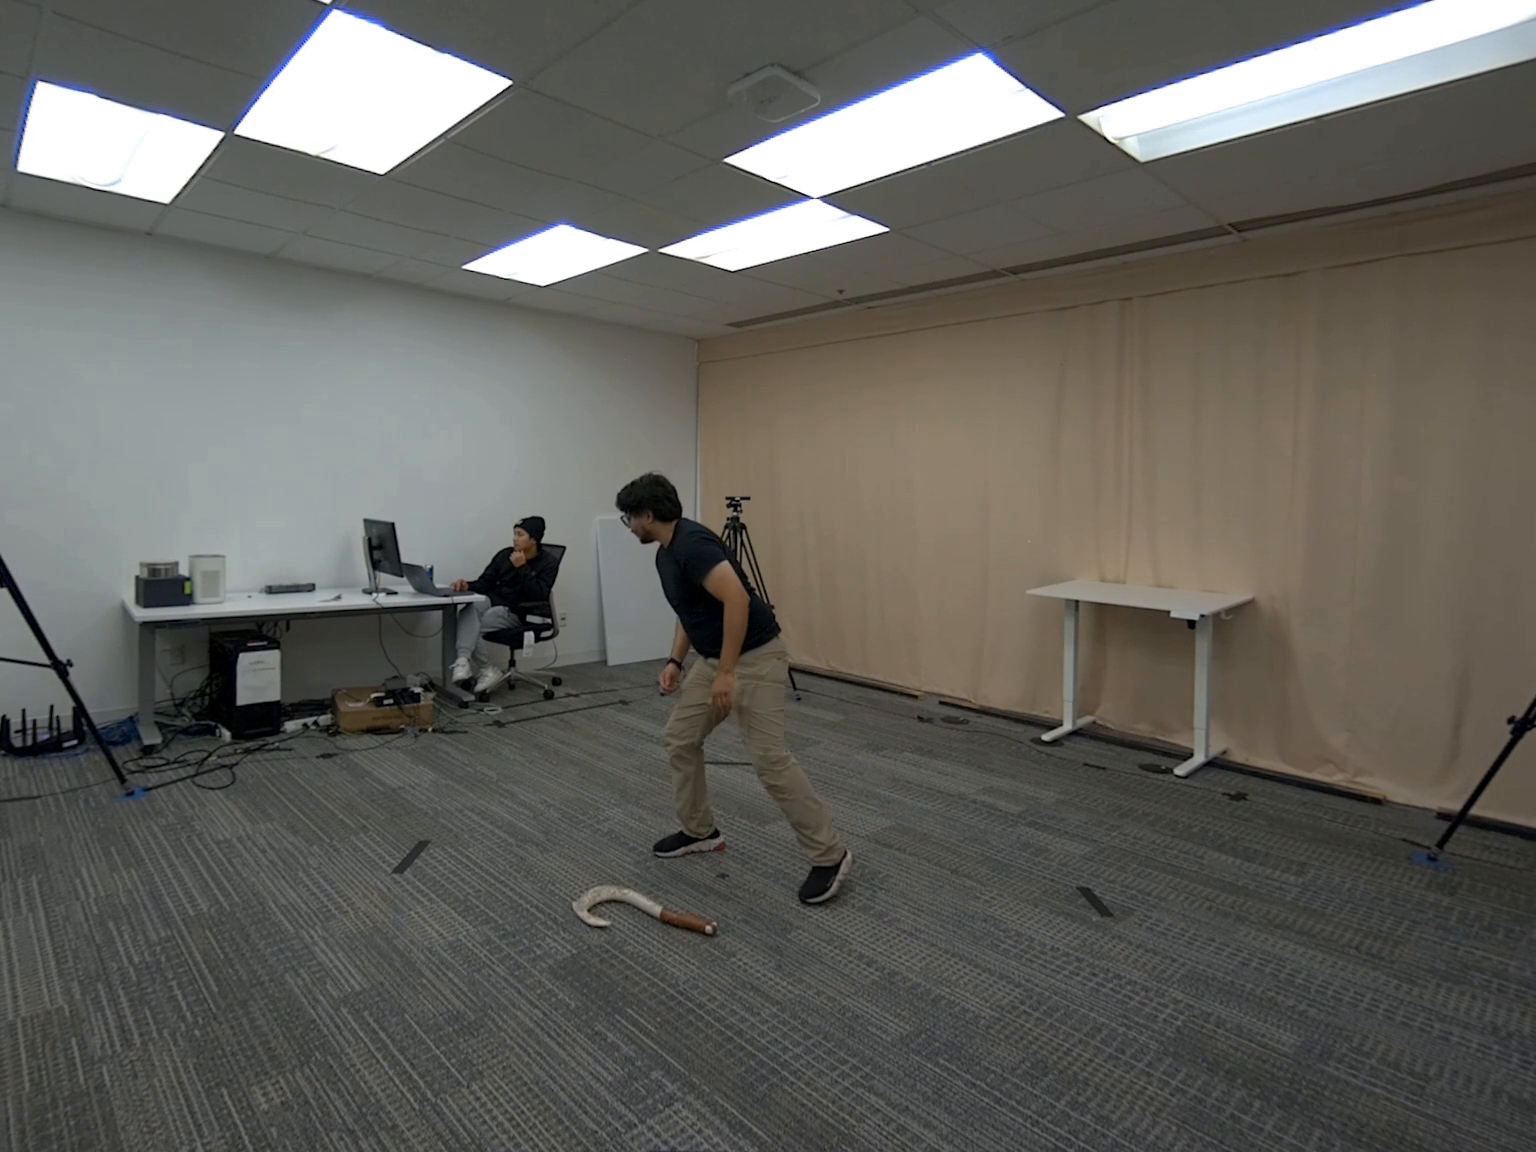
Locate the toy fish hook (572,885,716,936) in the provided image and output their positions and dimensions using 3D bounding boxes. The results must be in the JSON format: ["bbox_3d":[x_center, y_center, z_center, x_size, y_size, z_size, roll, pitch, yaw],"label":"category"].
[{"bbox_3d":[-0.417,1.115,2.750,0.517,0.048,0.221,3,11,29],"label":"toy fish hook"}]
